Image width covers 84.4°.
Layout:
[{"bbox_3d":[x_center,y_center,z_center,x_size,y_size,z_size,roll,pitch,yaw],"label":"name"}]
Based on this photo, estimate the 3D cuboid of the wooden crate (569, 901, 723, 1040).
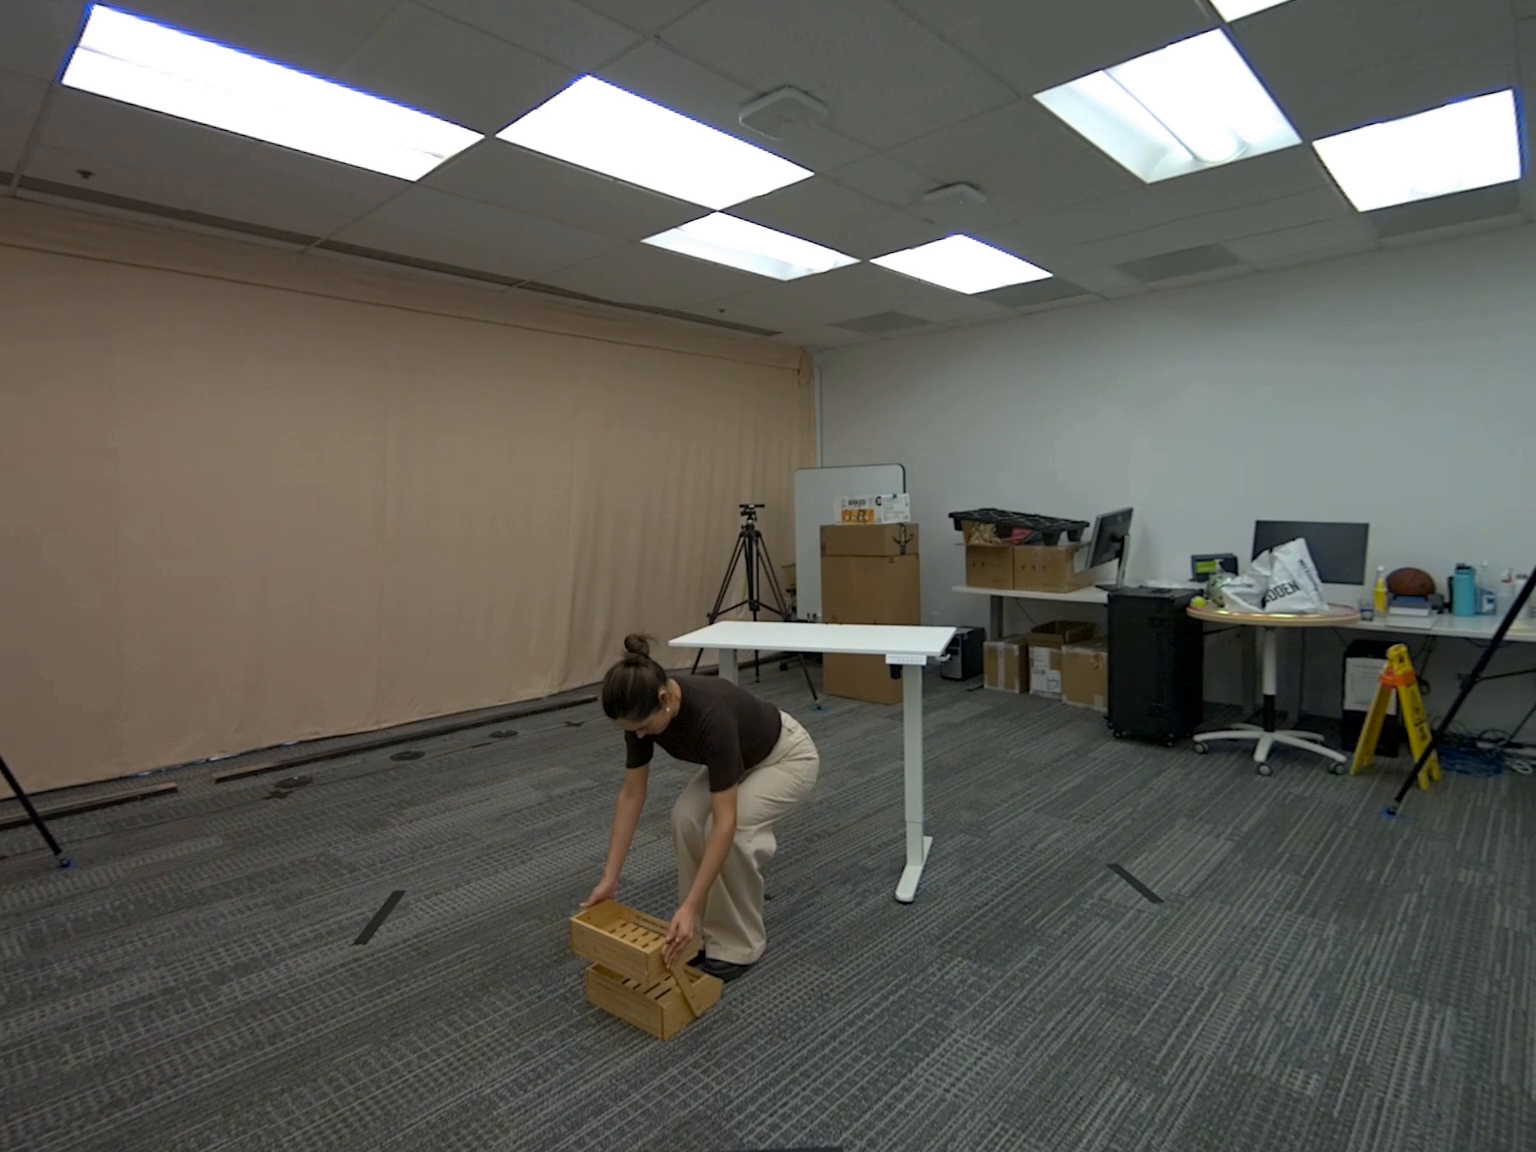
[{"bbox_3d":[-0.332,1.061,2.360,0.335,0.272,0.293,2,6,37],"label":"wooden crate"}]
